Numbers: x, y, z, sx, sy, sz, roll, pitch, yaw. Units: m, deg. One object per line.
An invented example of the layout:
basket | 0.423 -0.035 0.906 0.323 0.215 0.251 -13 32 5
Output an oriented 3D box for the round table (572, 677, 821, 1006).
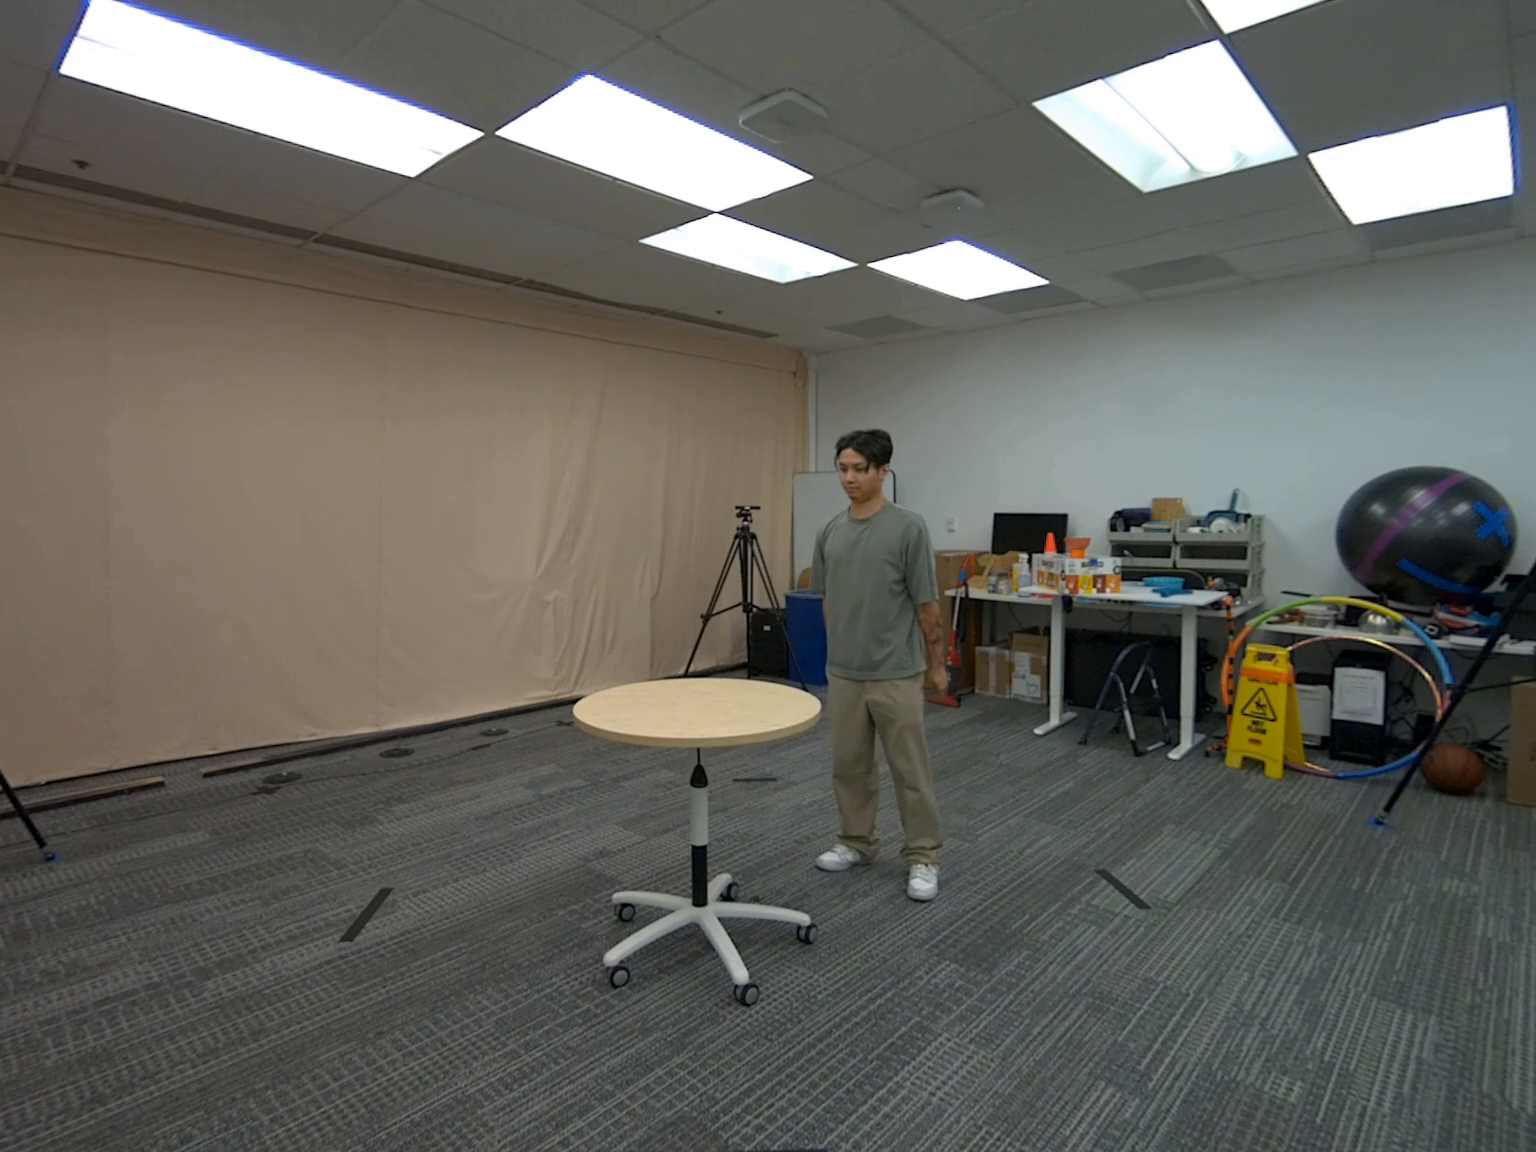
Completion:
round table | -0.219 0.782 2.652 0.784 0.784 0.788 -1 4 -2
